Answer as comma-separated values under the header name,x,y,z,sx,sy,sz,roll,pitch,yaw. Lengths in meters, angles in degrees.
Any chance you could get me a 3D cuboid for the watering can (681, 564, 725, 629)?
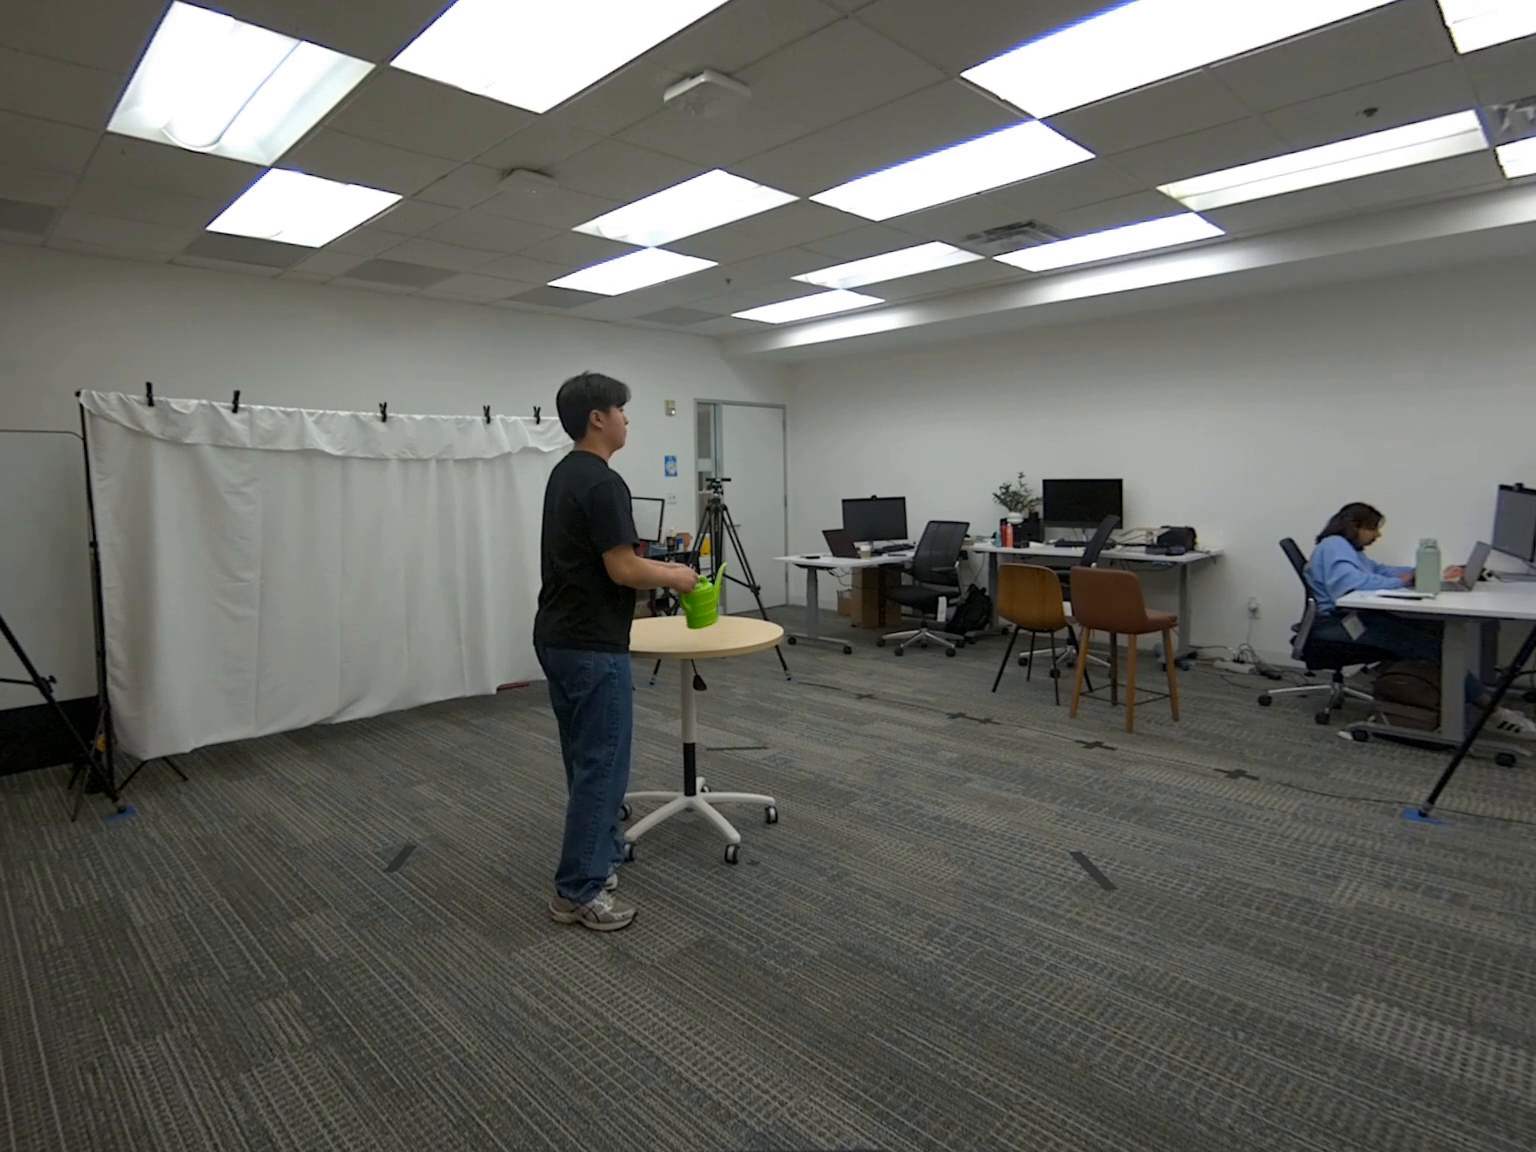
name,x,y,z,sx,sy,sz,roll,pitch,yaw
watering can,-0.210,0.076,3.014,0.273,0.175,0.101,-20,17,-42
